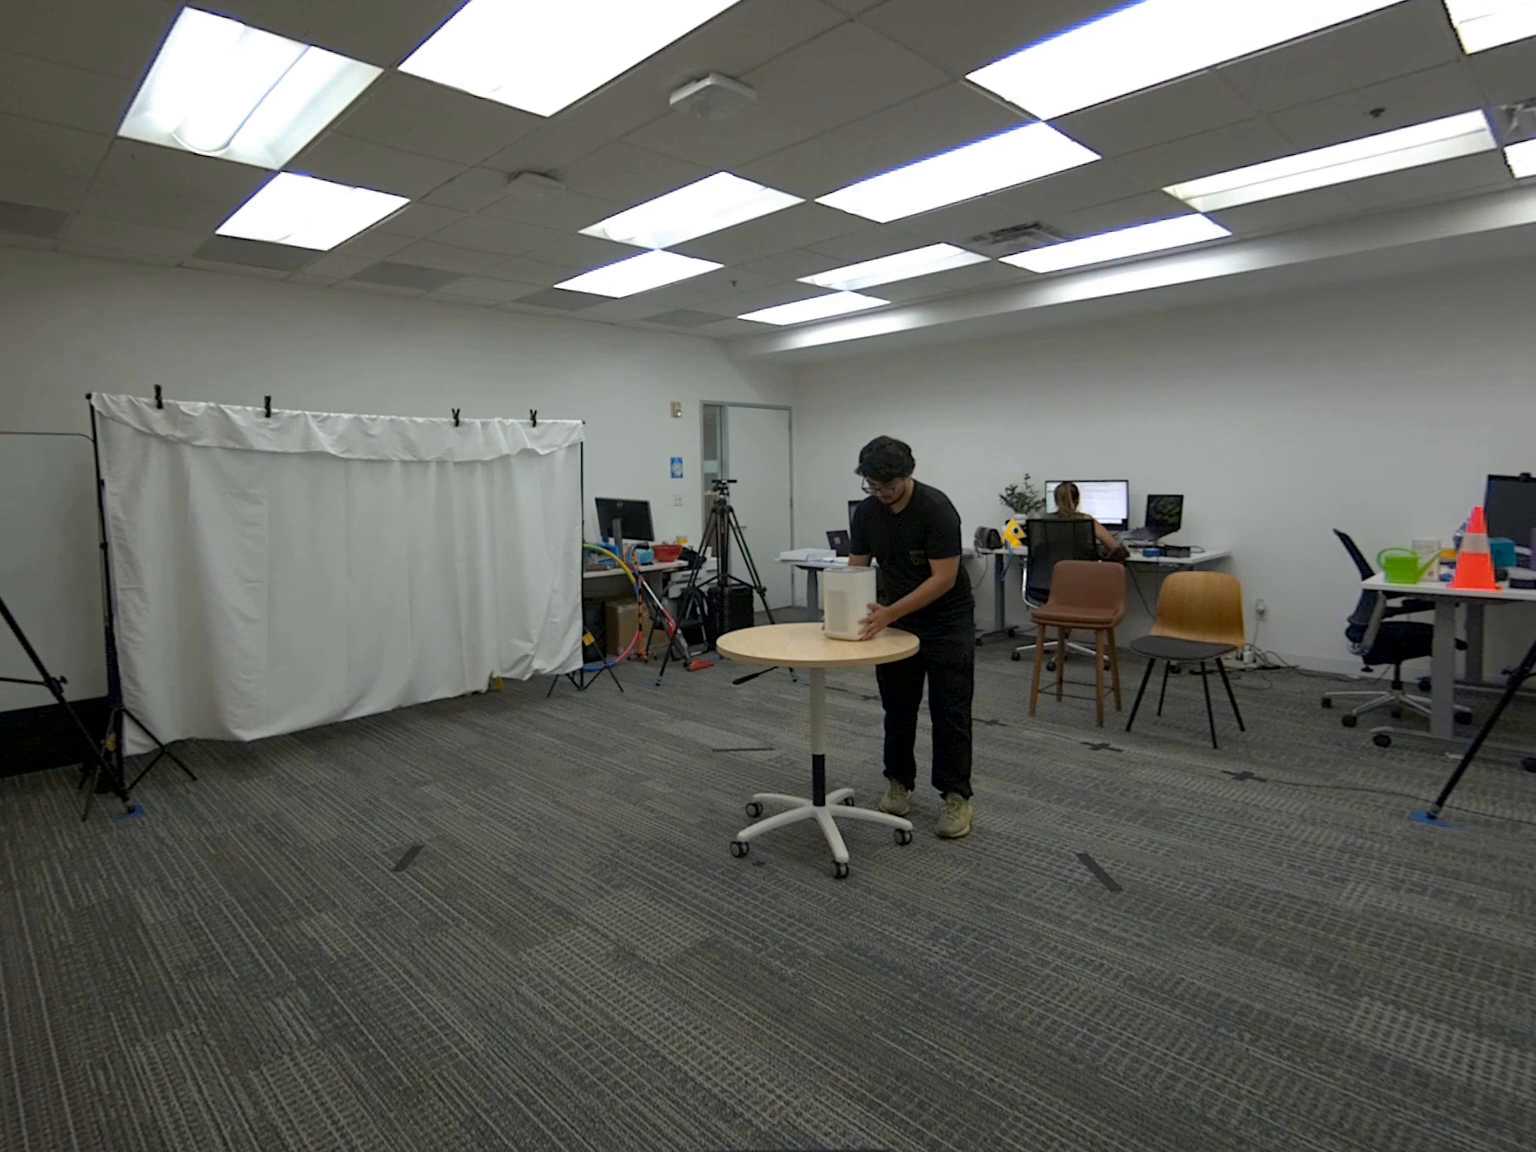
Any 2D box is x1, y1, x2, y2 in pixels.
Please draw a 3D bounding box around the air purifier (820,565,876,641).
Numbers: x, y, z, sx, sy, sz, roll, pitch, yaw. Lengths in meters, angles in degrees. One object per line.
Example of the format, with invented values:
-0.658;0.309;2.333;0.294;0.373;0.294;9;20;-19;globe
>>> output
0.322;0.104;3.277;0.177;0.264;0.166;3;6;40;air purifier
